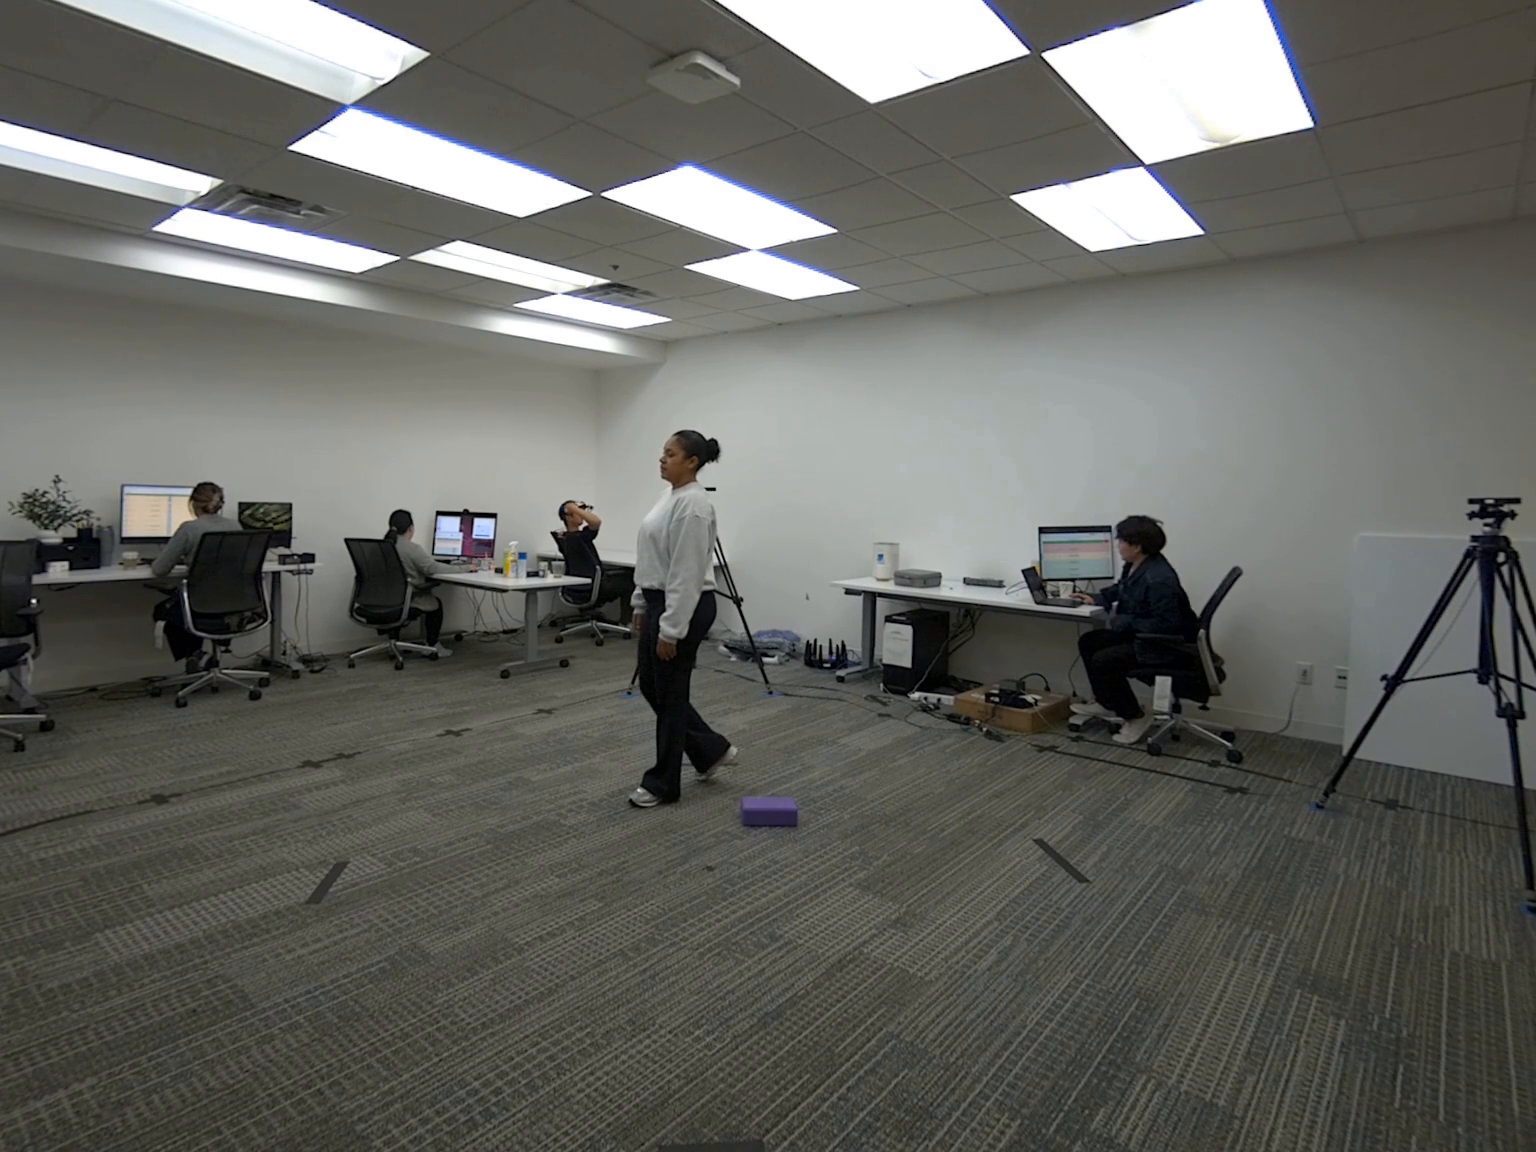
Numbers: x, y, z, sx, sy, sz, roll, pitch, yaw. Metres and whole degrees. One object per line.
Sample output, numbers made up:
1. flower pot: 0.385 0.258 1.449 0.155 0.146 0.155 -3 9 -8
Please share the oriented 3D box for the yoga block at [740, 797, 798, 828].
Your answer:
1. yoga block: -0.005 0.984 3.577 0.229 0.076 0.150 0 7 -2
